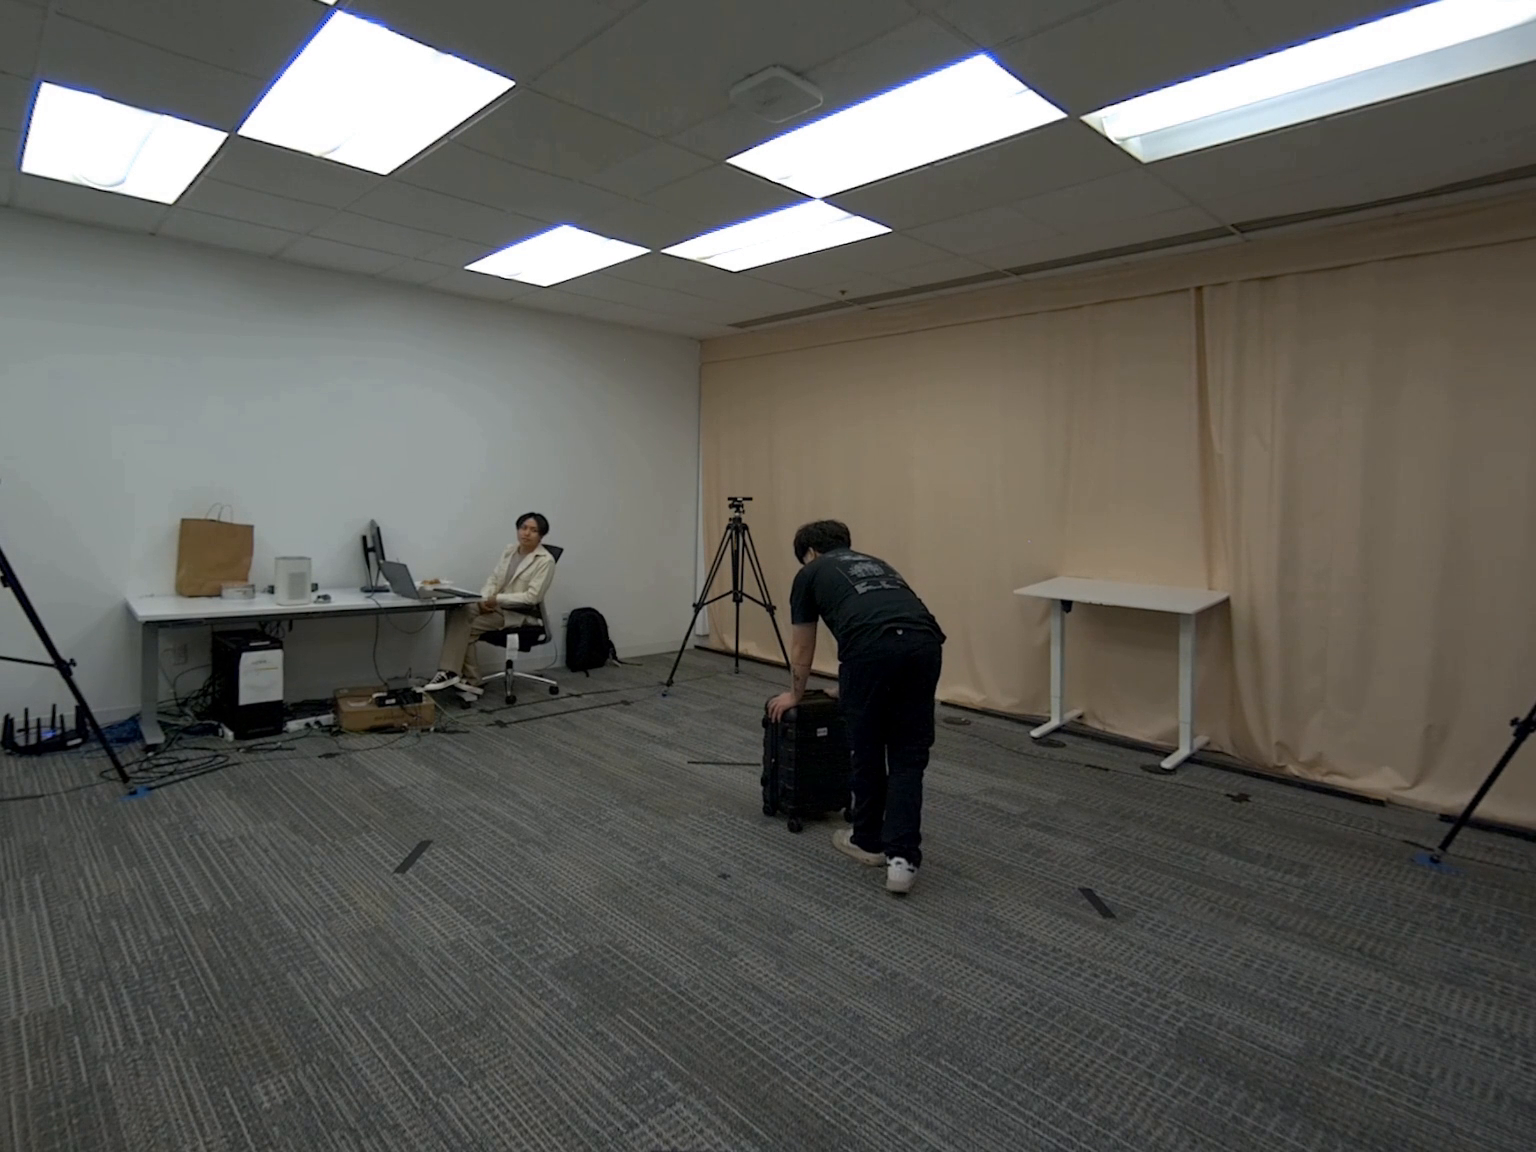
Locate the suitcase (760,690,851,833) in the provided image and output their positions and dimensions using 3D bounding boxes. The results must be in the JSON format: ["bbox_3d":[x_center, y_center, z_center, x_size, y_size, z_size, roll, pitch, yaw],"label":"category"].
[{"bbox_3d":[0.168,0.788,3.714,0.368,0.549,0.254,-2,2,-32],"label":"suitcase"}]
